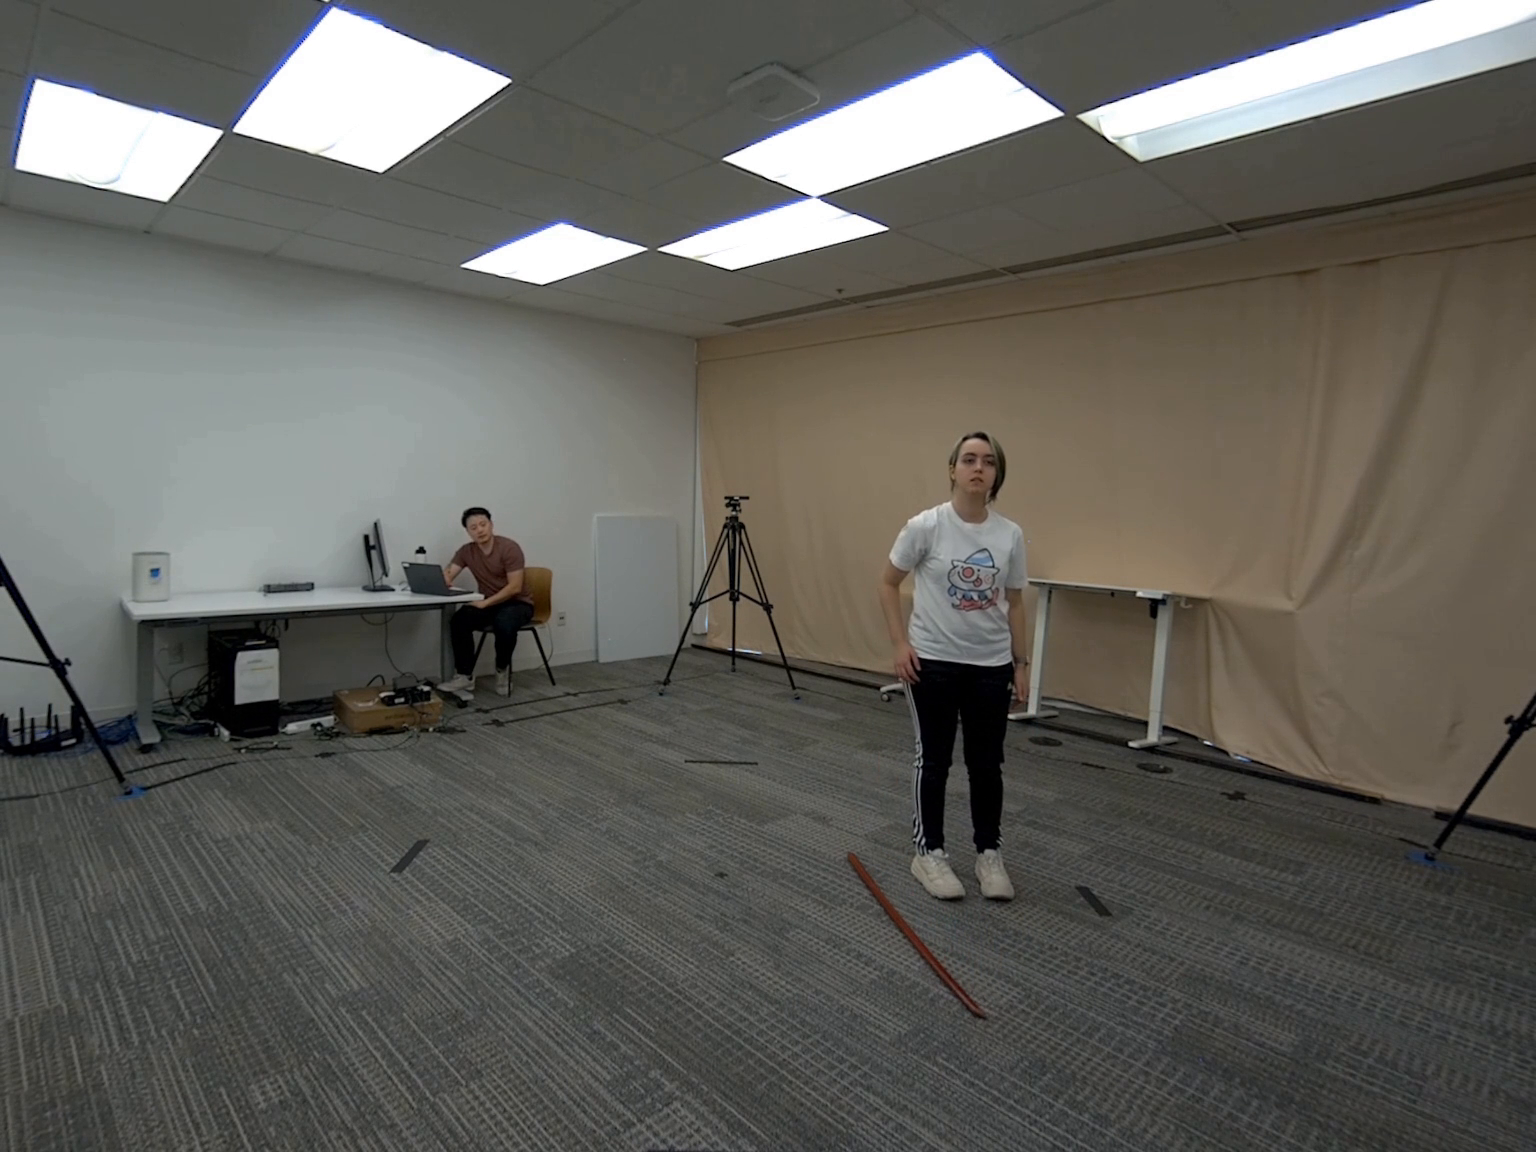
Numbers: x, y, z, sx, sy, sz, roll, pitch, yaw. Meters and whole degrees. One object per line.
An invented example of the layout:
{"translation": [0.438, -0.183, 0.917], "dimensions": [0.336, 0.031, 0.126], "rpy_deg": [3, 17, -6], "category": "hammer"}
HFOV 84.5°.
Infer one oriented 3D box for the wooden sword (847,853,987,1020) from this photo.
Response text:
{"translation": [0.434, 1.127, 2.773], "dimensions": [0.051, 0.024, 1.039], "rpy_deg": [9, 4, -15], "category": "wooden sword"}
